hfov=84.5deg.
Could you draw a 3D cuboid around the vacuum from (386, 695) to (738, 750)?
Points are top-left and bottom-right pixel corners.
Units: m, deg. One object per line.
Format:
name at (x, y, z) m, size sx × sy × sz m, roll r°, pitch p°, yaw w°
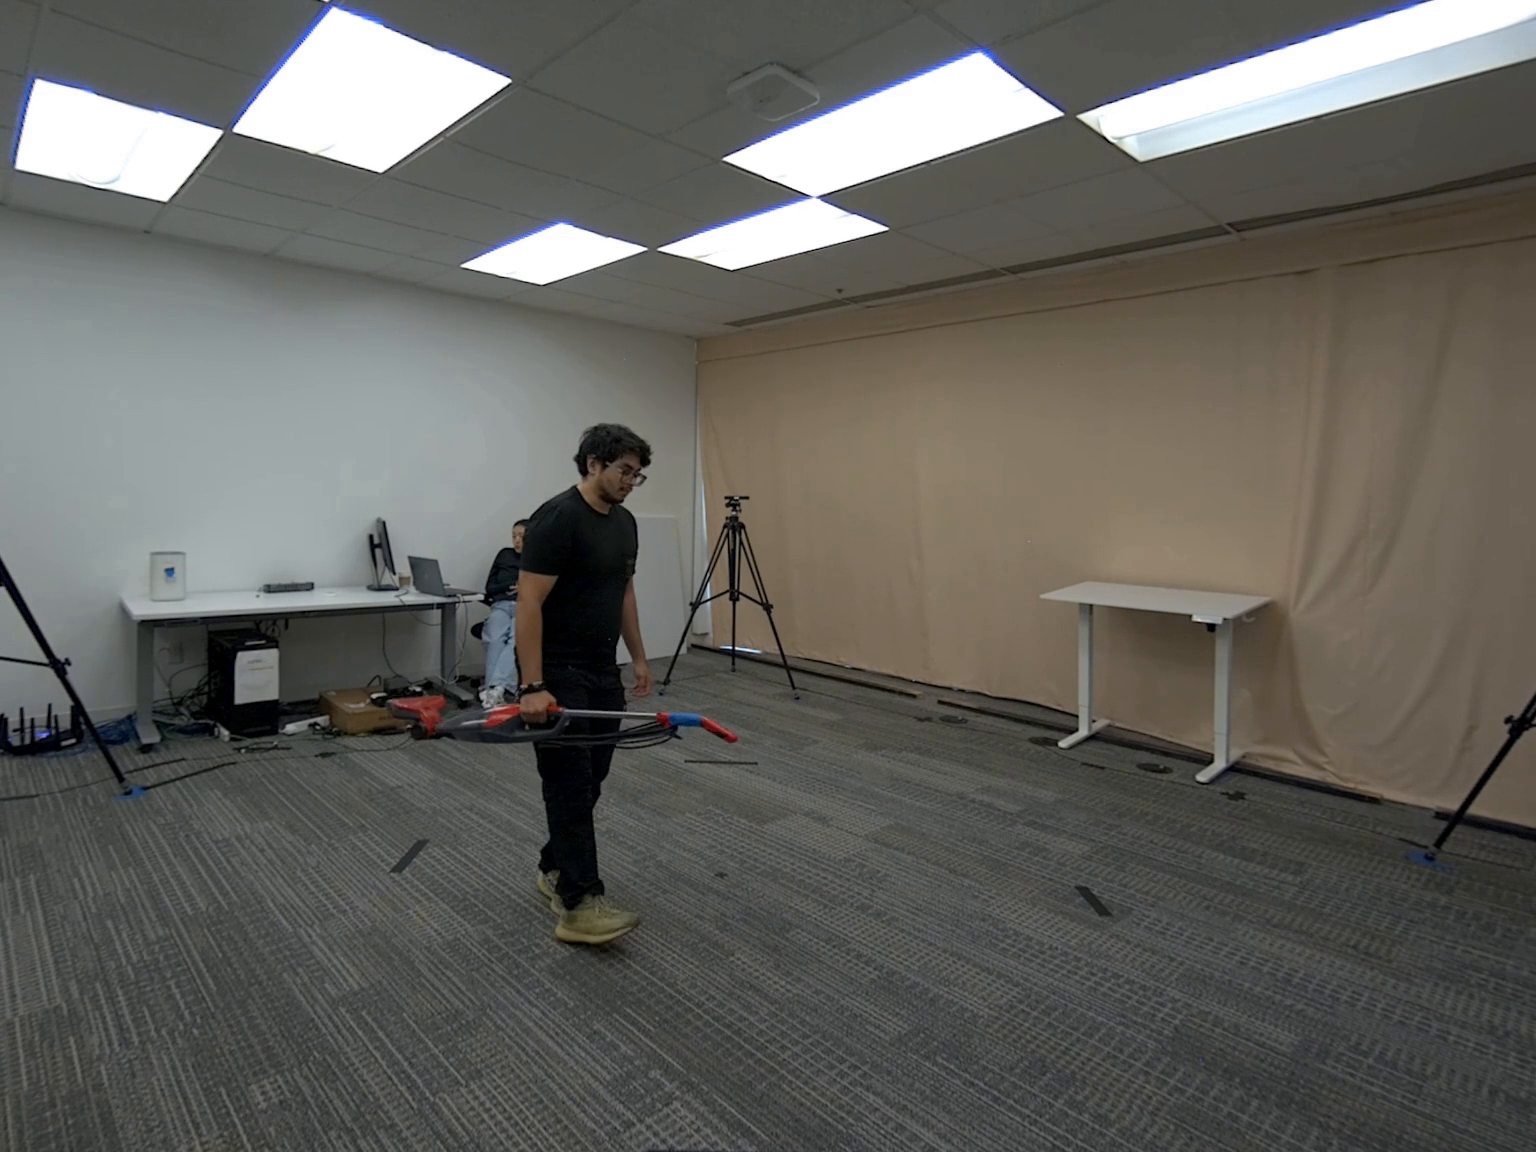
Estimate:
vacuum at (-0.596, 0.449, 2.481) m, size 1.063 × 0.144 × 0.248 m, roll -1°, pitch -5°, yaw 17°
